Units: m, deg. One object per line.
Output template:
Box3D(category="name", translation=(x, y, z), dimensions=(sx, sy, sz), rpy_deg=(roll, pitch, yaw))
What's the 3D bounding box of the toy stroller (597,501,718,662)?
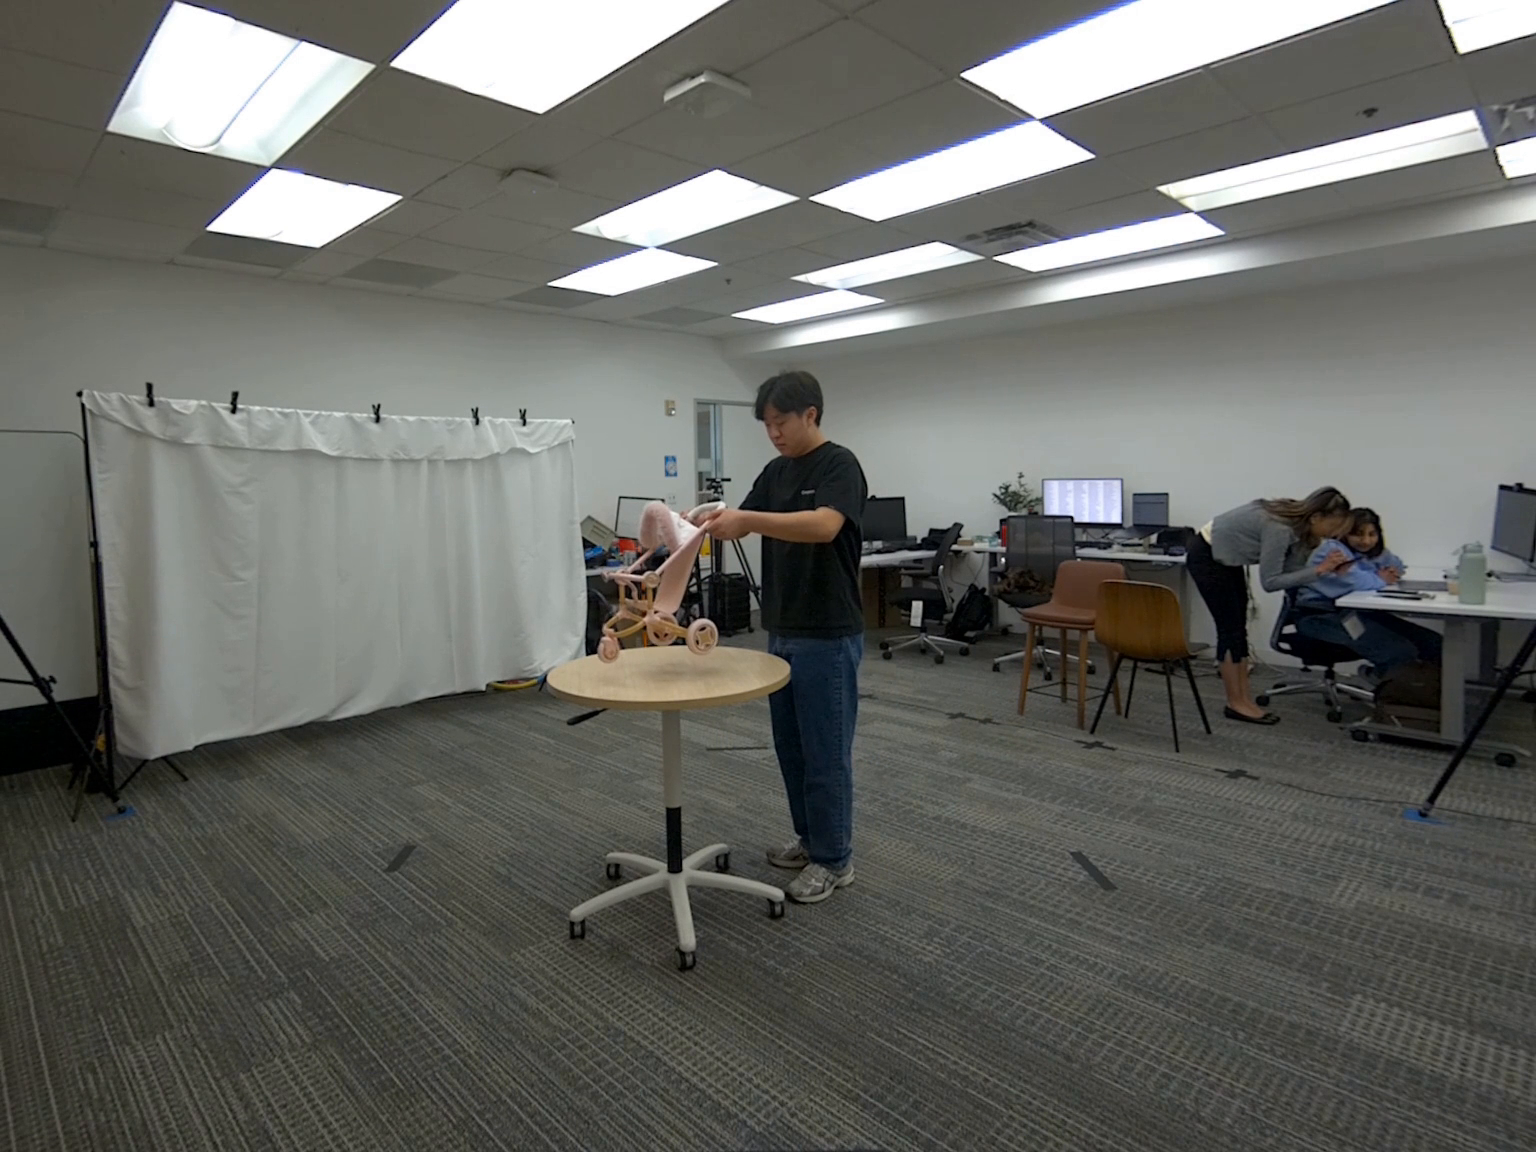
Box3D(category="toy stroller", translation=(-0.336, 0.014, 2.636), dimensions=(0.332, 0.536, 0.288), rpy_deg=(10, -4, -28))
